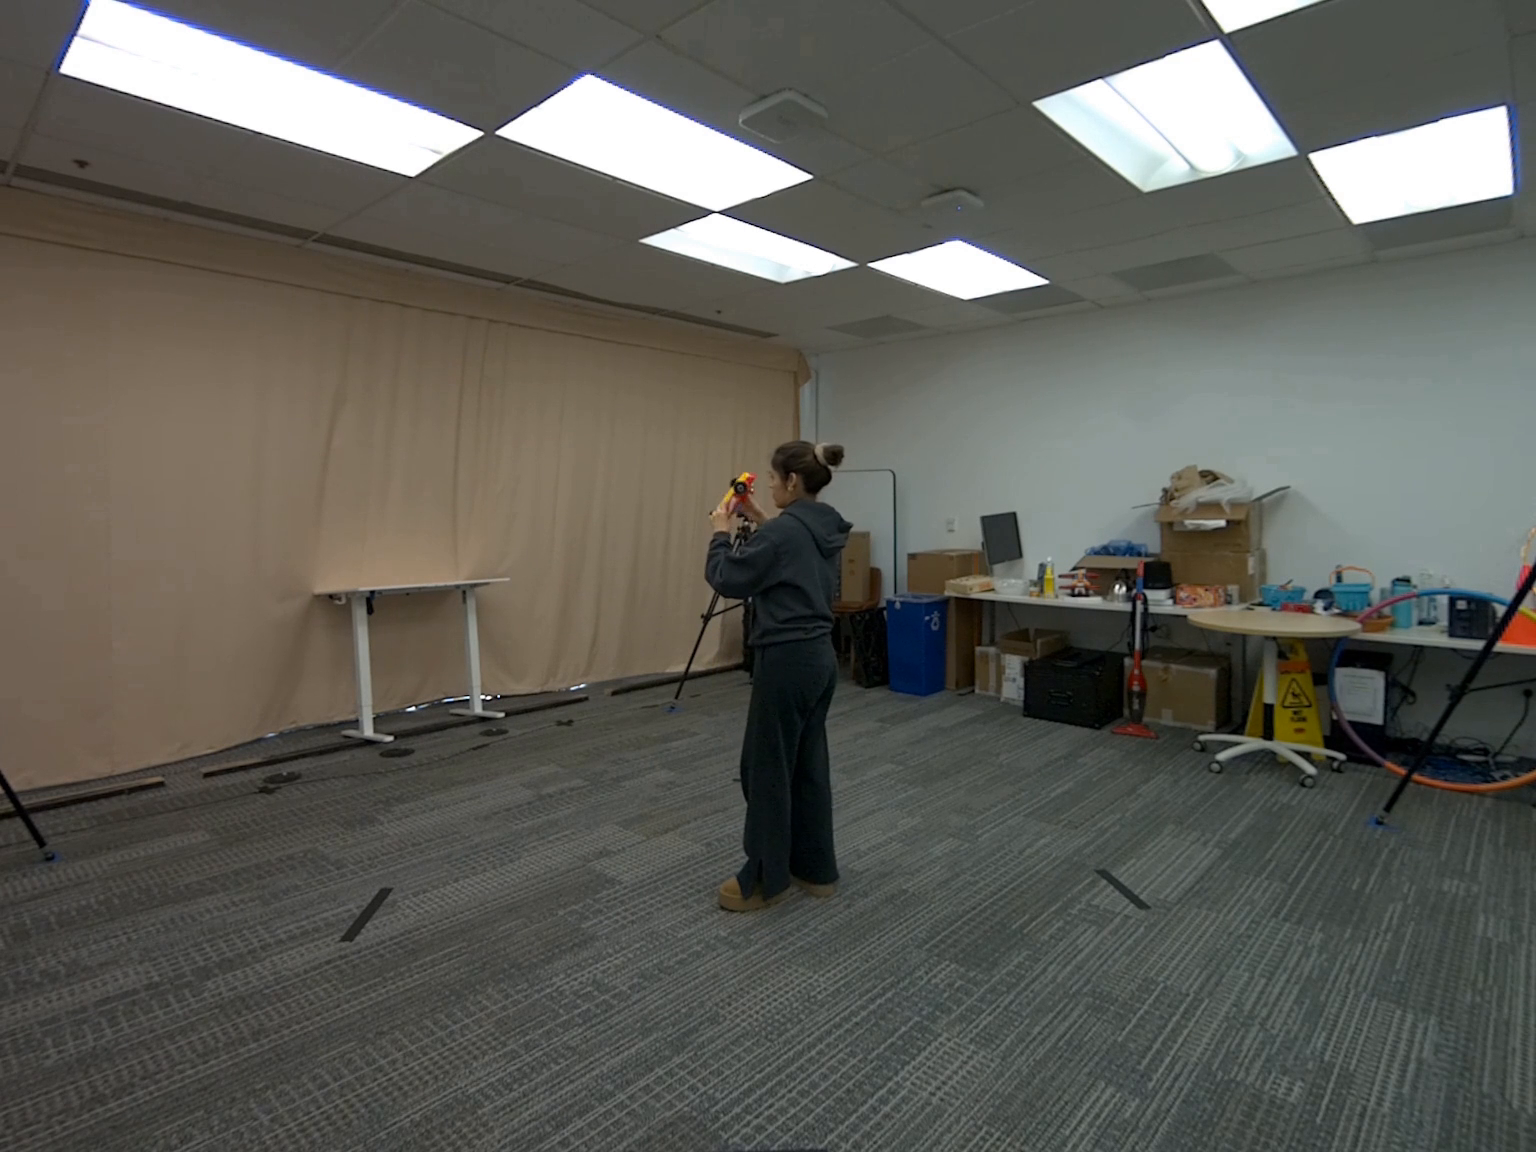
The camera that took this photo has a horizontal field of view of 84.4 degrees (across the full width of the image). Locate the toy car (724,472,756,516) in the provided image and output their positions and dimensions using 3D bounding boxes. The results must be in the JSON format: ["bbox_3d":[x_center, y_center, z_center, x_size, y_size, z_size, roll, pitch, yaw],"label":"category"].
[{"bbox_3d":[-0.114,-0.284,3.140,0.082,0.255,0.132,41,4,-16],"label":"toy car"}]
